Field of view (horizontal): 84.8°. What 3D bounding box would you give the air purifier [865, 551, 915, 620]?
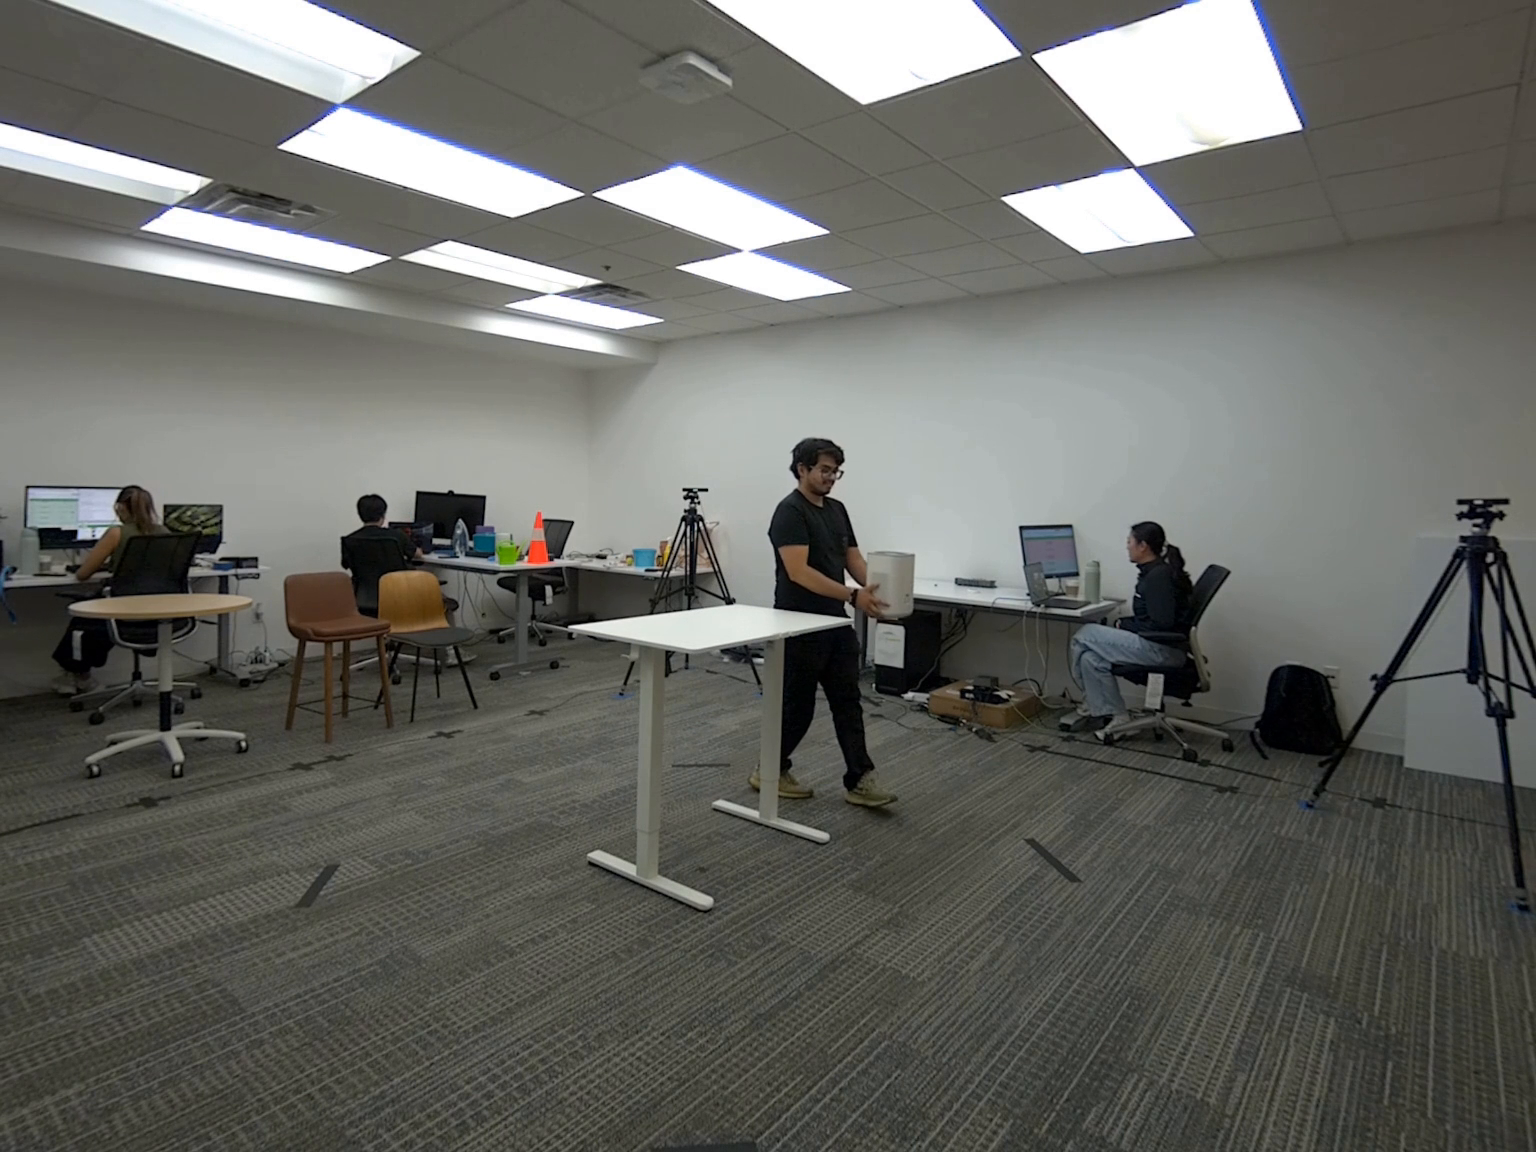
[{"bbox_3d":[0.509,0.028,3.590,0.177,0.264,0.166,5,6,37],"label":"air purifier"}]
